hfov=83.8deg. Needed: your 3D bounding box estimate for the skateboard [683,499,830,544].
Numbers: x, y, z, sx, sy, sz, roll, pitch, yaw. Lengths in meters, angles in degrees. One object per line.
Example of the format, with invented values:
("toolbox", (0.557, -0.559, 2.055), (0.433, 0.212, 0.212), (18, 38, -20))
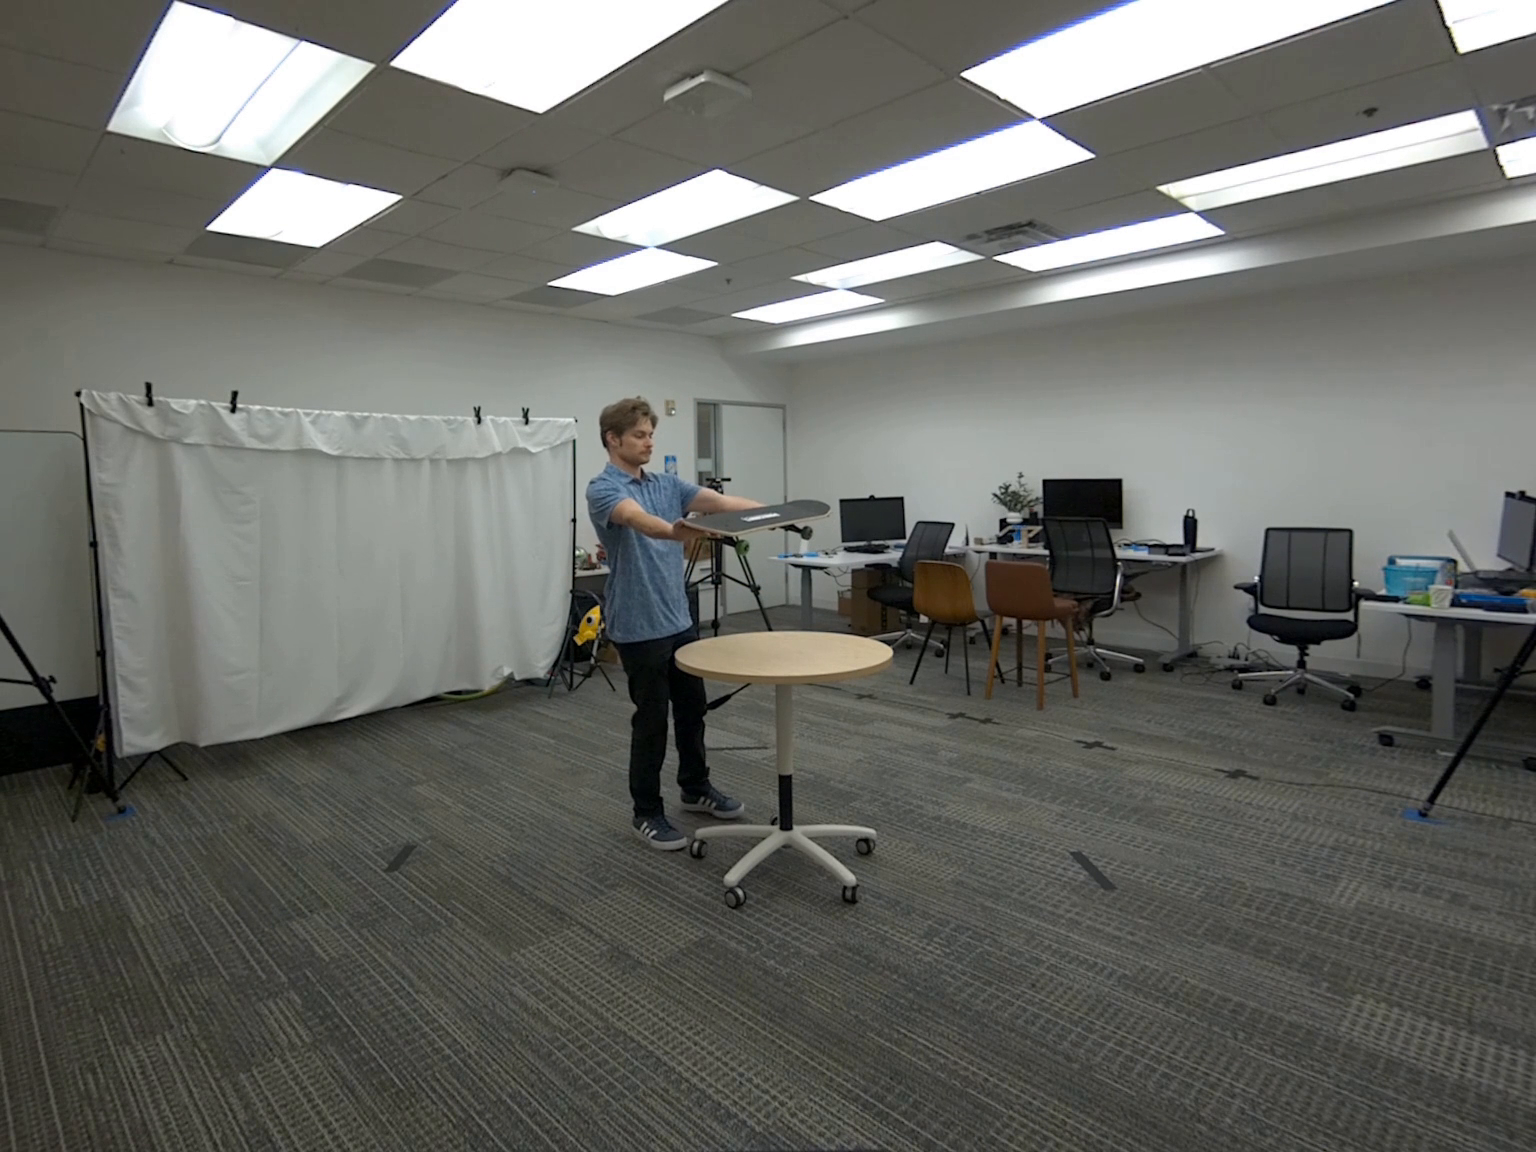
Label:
("skateboard", (-0.028, -0.169, 2.962), (0.200, 0.109, 0.768), (18, 19, 33))
